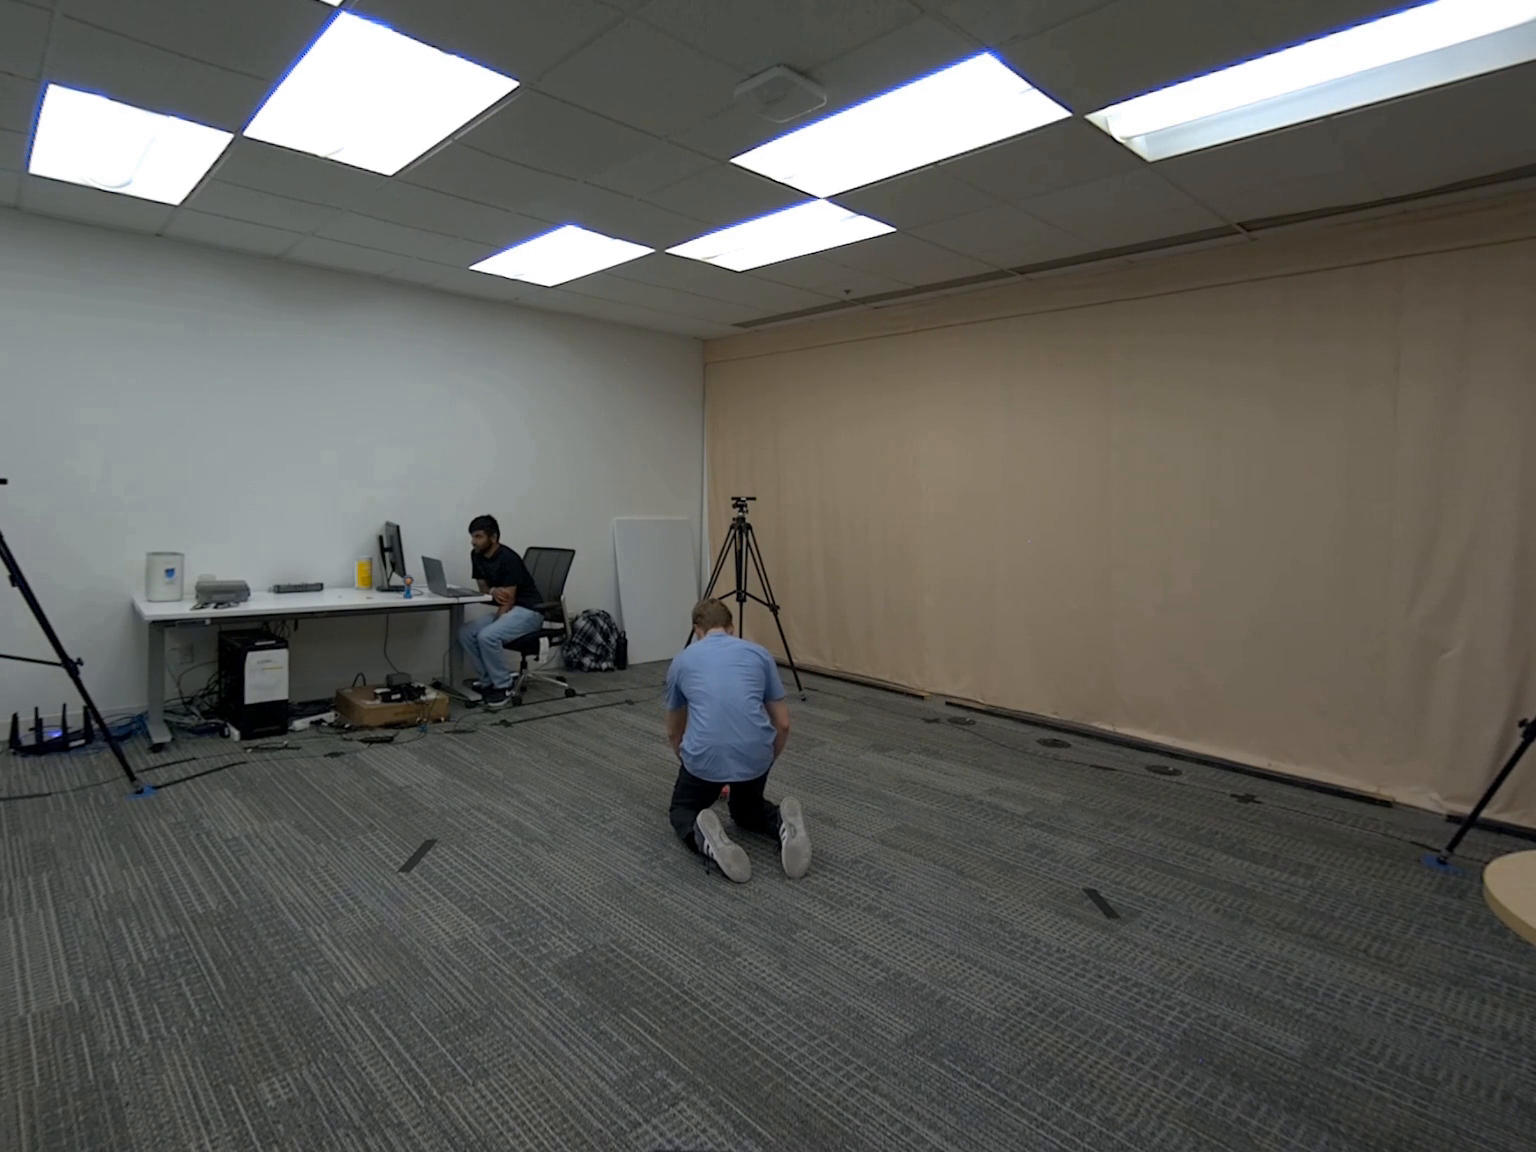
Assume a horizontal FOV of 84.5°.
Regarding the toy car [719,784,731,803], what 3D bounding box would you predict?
[{"bbox_3d":[-0.321,1.004,3.922,0.253,0.083,0.131,12,4,-5],"label":"toy car"}]
